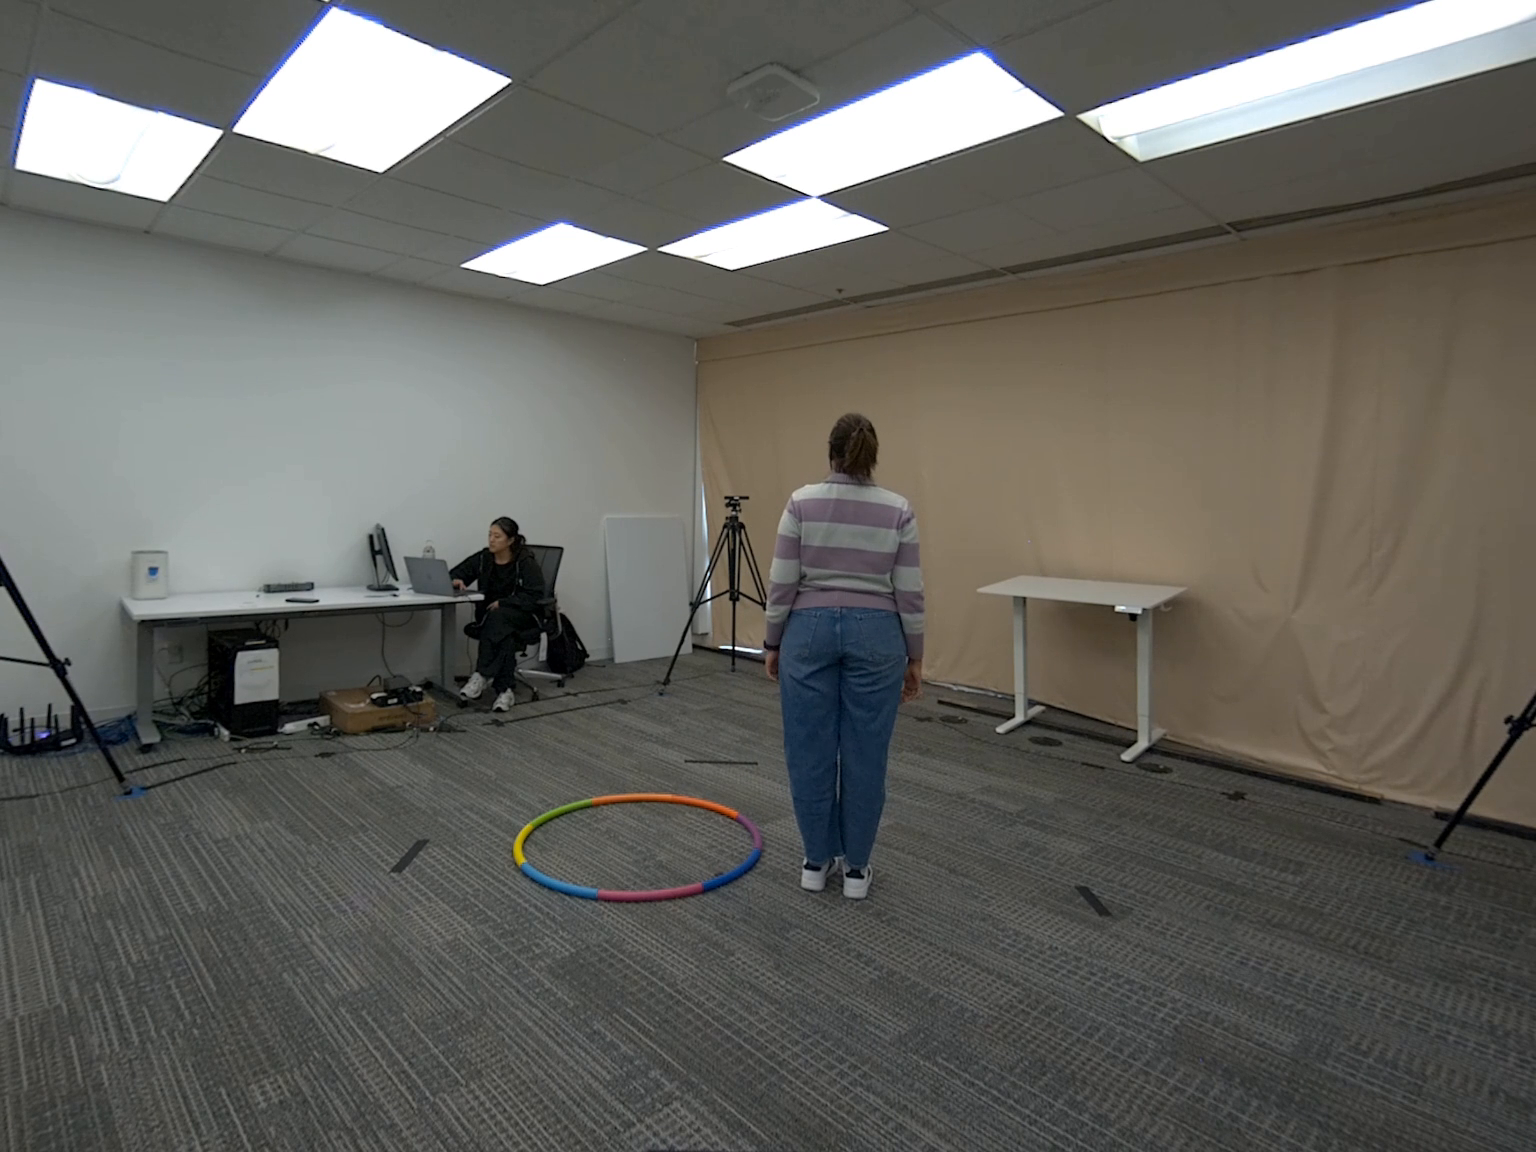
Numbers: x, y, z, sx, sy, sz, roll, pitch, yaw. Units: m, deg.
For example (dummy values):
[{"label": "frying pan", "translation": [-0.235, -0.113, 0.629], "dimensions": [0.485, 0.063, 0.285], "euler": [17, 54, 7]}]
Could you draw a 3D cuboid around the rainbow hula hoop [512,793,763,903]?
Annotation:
[{"label": "rainbow hula hoop", "translation": [-0.515, 1.042, 3.363], "dimensions": [0.978, 0.035, 0.982], "euler": [1, 5, -1]}]
